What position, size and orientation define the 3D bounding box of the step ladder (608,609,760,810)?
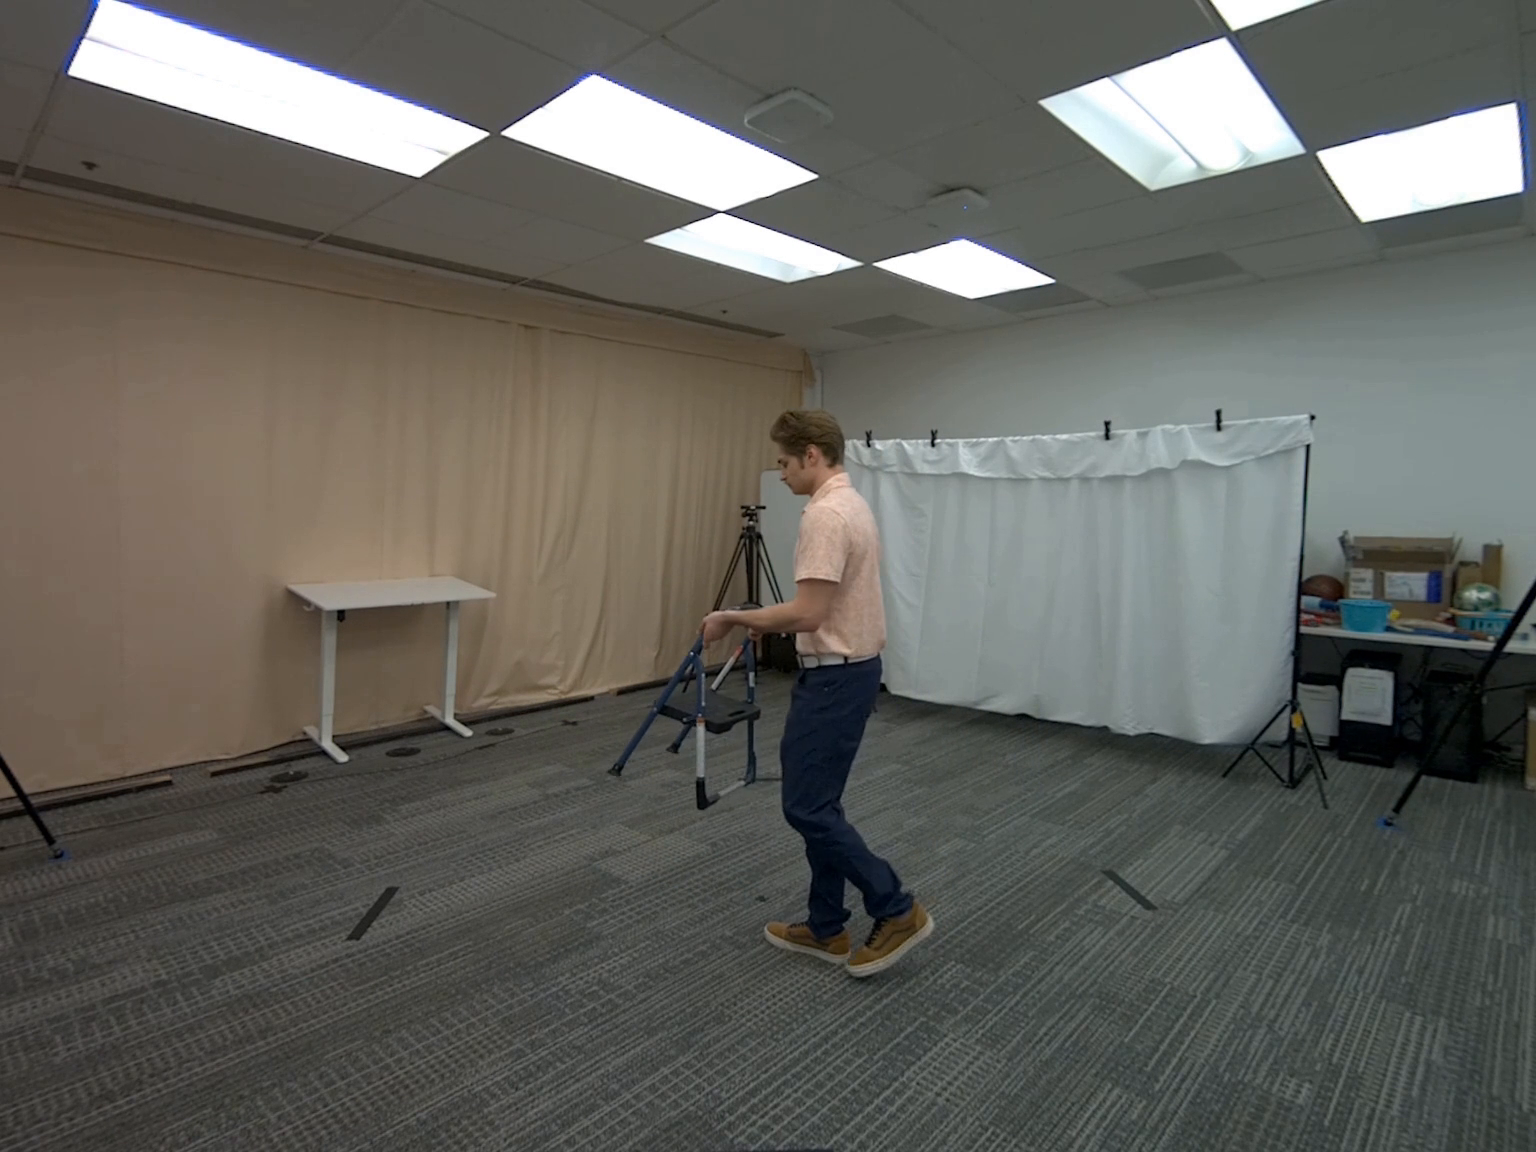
[{"bbox_3d":[-0.197,0.371,2.745,0.359,0.605,0.420,15,4,23],"label":"step ladder"}]
